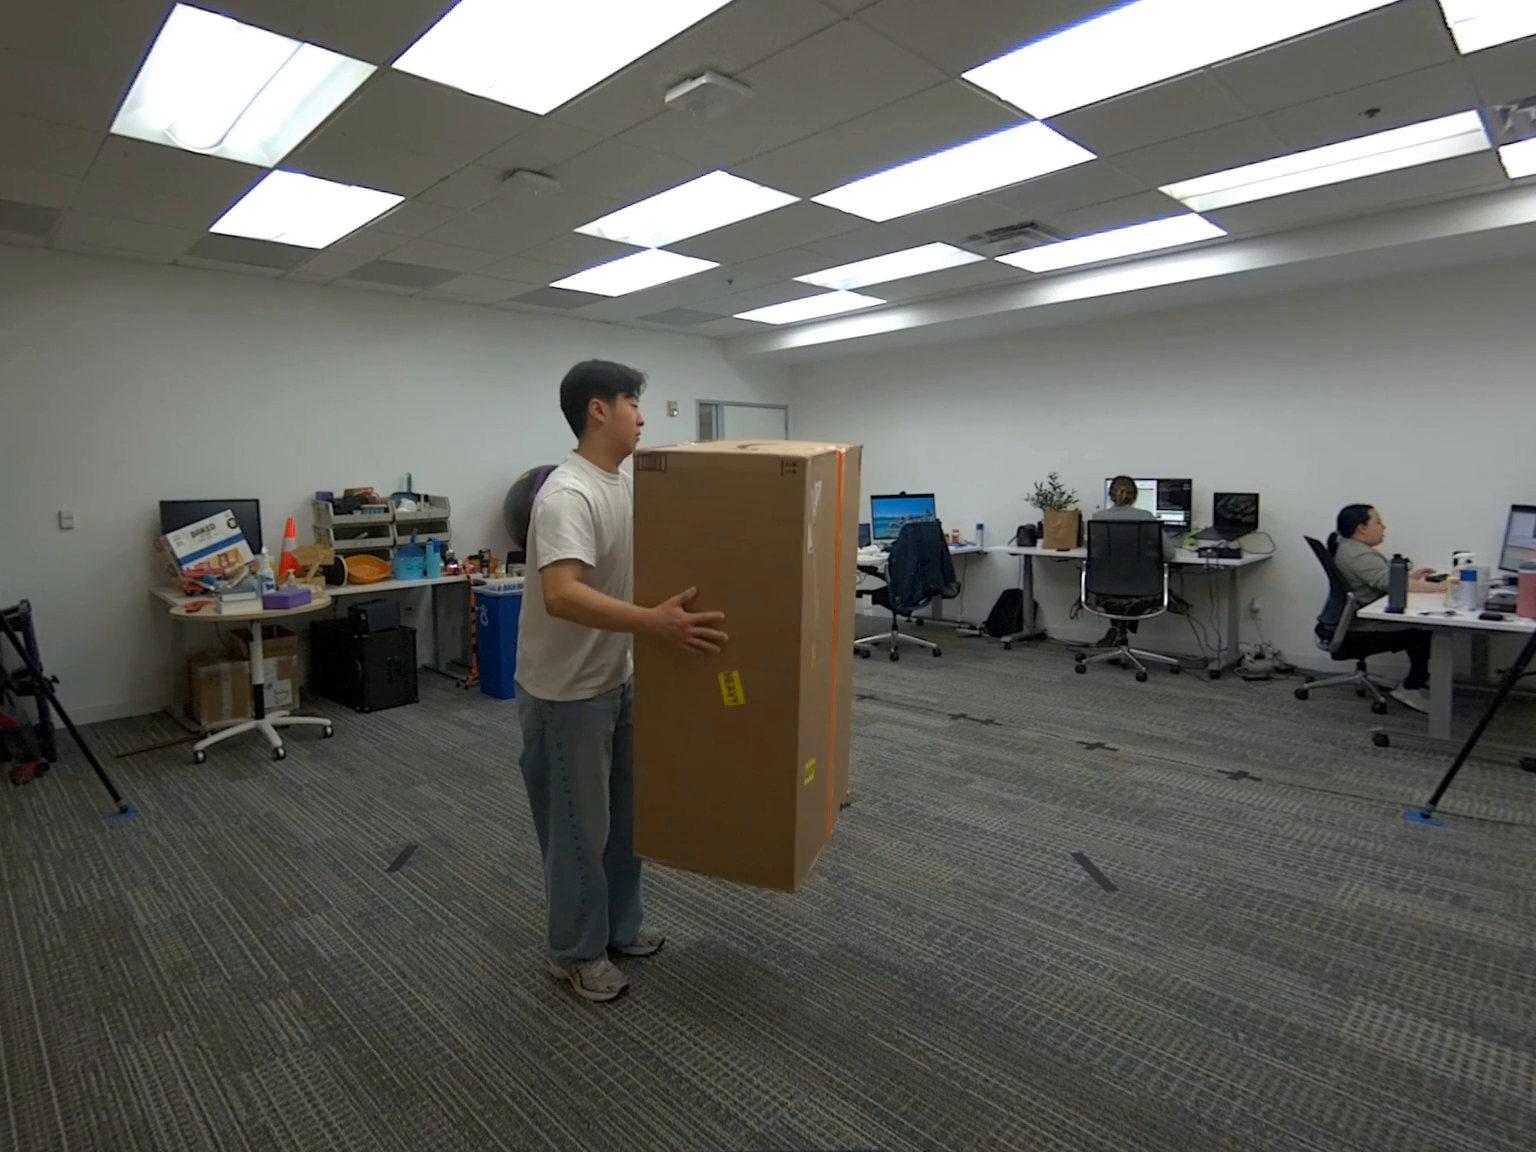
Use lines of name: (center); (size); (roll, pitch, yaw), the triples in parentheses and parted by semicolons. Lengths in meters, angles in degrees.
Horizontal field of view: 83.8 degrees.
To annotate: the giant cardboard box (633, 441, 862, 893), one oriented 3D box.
giant cardboard box: (-0.022, 0.188, 2.242); (0.435, 1.018, 0.570); (4, 9, 19)
